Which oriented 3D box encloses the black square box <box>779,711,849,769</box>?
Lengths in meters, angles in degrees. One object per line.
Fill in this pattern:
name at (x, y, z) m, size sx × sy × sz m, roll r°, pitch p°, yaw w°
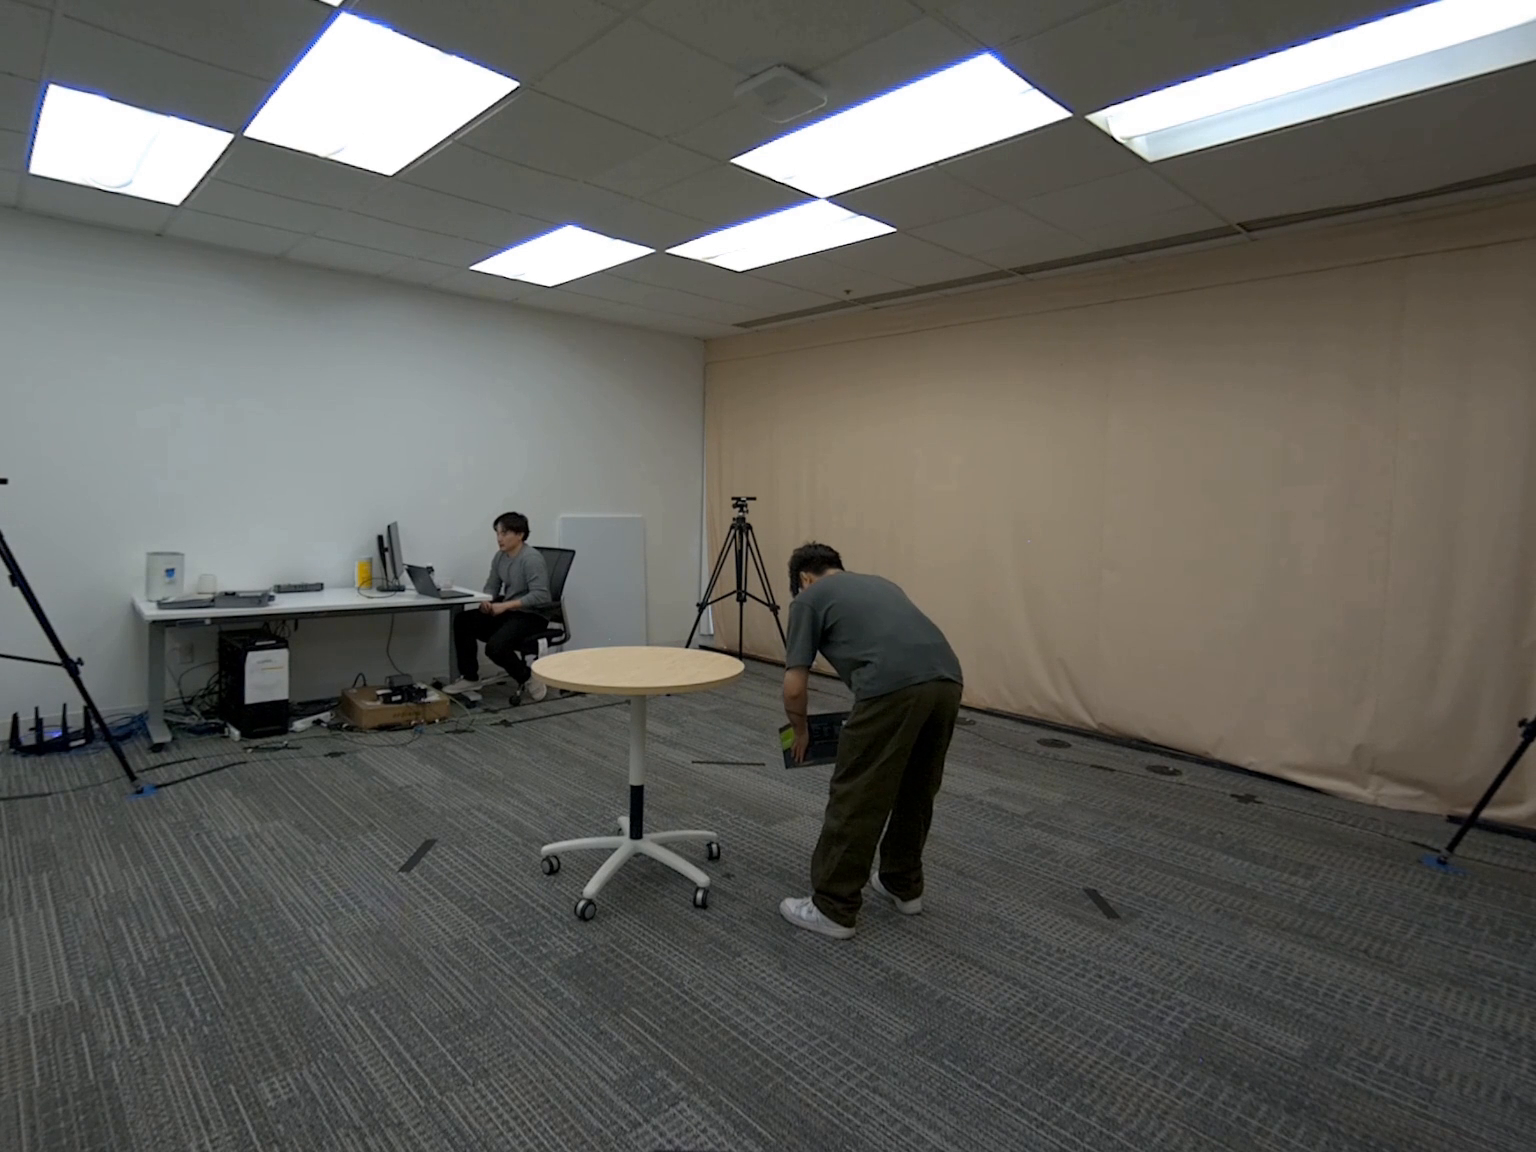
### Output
black square box at (0.183, 0.619, 3.169) m, size 0.213 × 0.159 × 0.228 m, roll 0°, pitch -23°, yaw -25°
